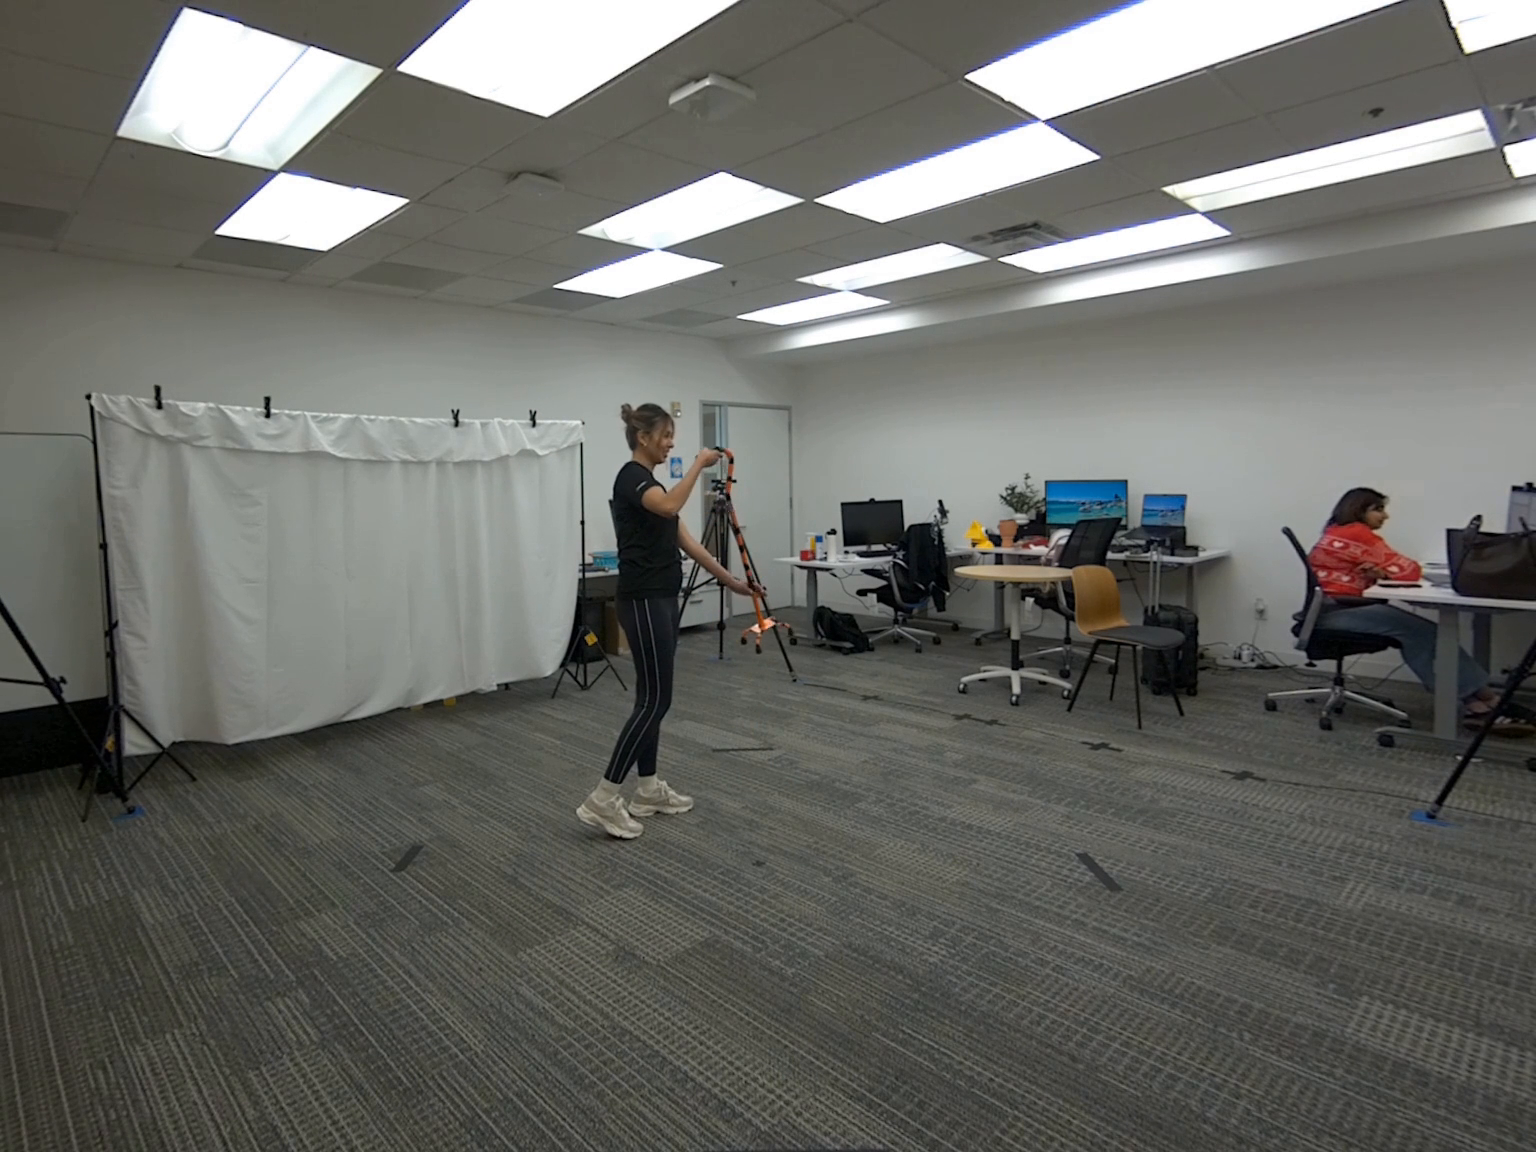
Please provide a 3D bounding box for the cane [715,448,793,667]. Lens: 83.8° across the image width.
[{"bbox_3d":[-0.102,-0.105,3.598,0.204,0.886,0.157,-27,27,-29],"label":"cane"}]
